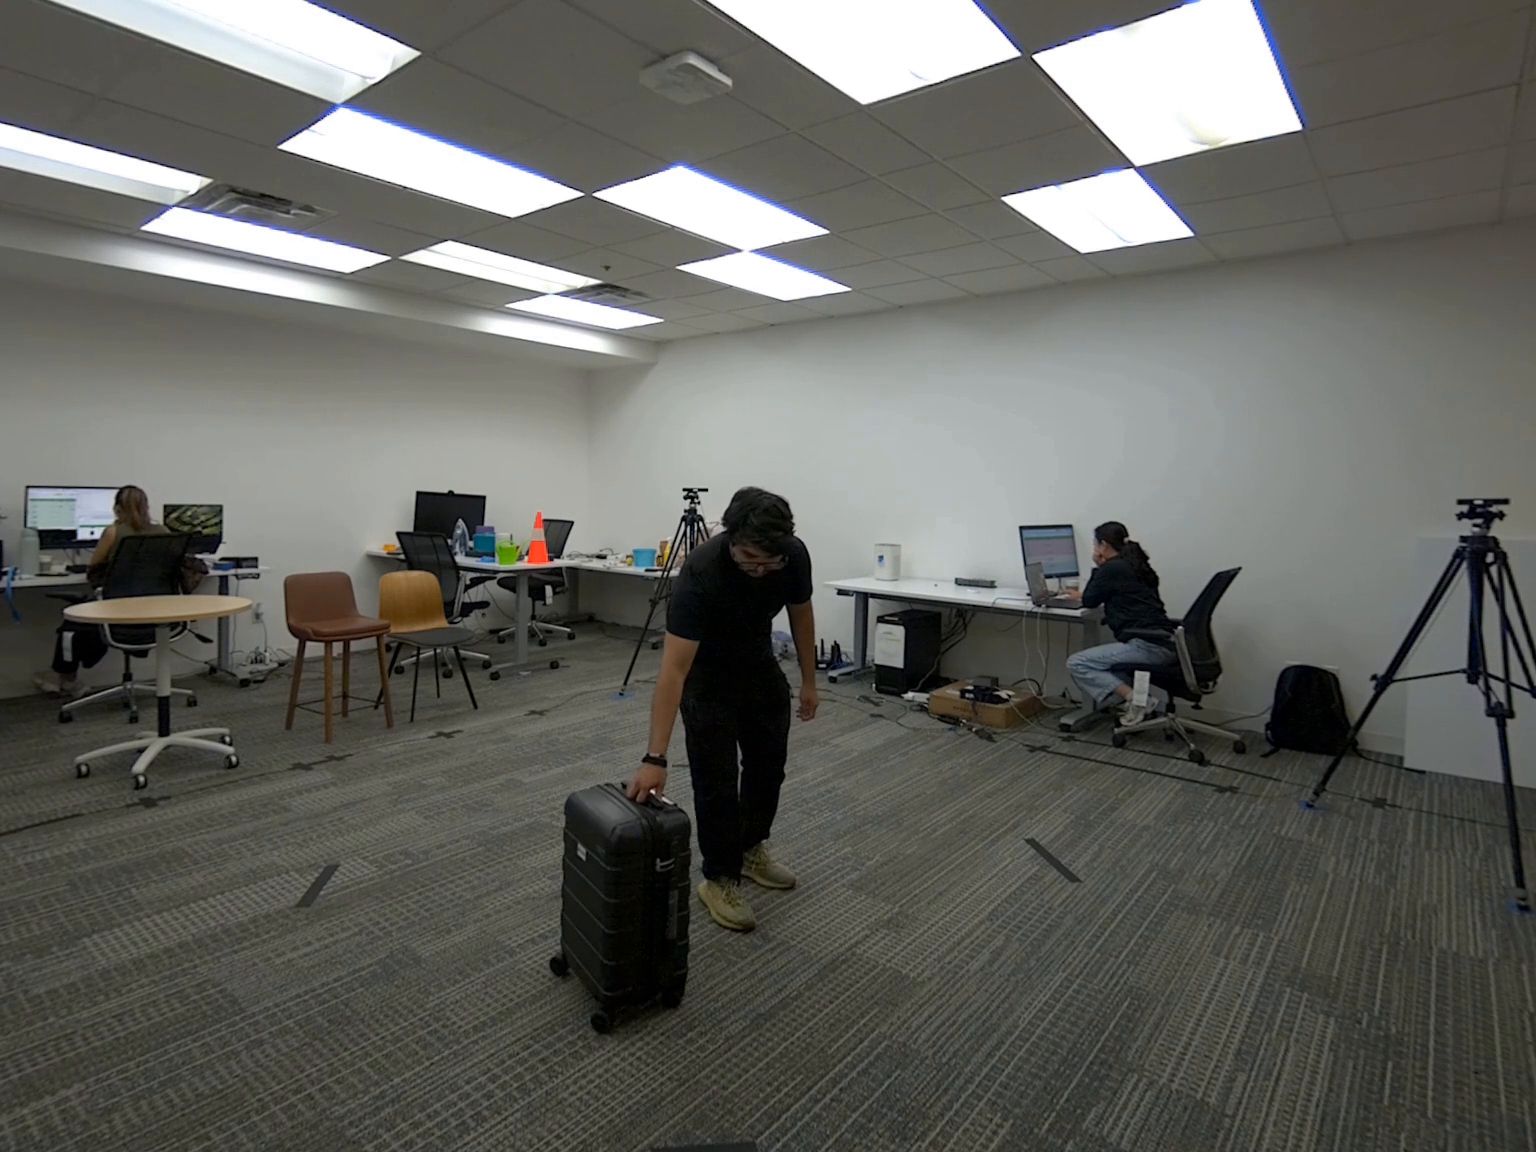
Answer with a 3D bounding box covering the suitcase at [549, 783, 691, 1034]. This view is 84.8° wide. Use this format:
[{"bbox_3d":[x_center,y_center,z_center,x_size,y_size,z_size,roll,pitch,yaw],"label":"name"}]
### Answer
[{"bbox_3d":[-0.406,0.868,2.342,0.241,0.548,0.388,1,4,-35],"label":"suitcase"}]
